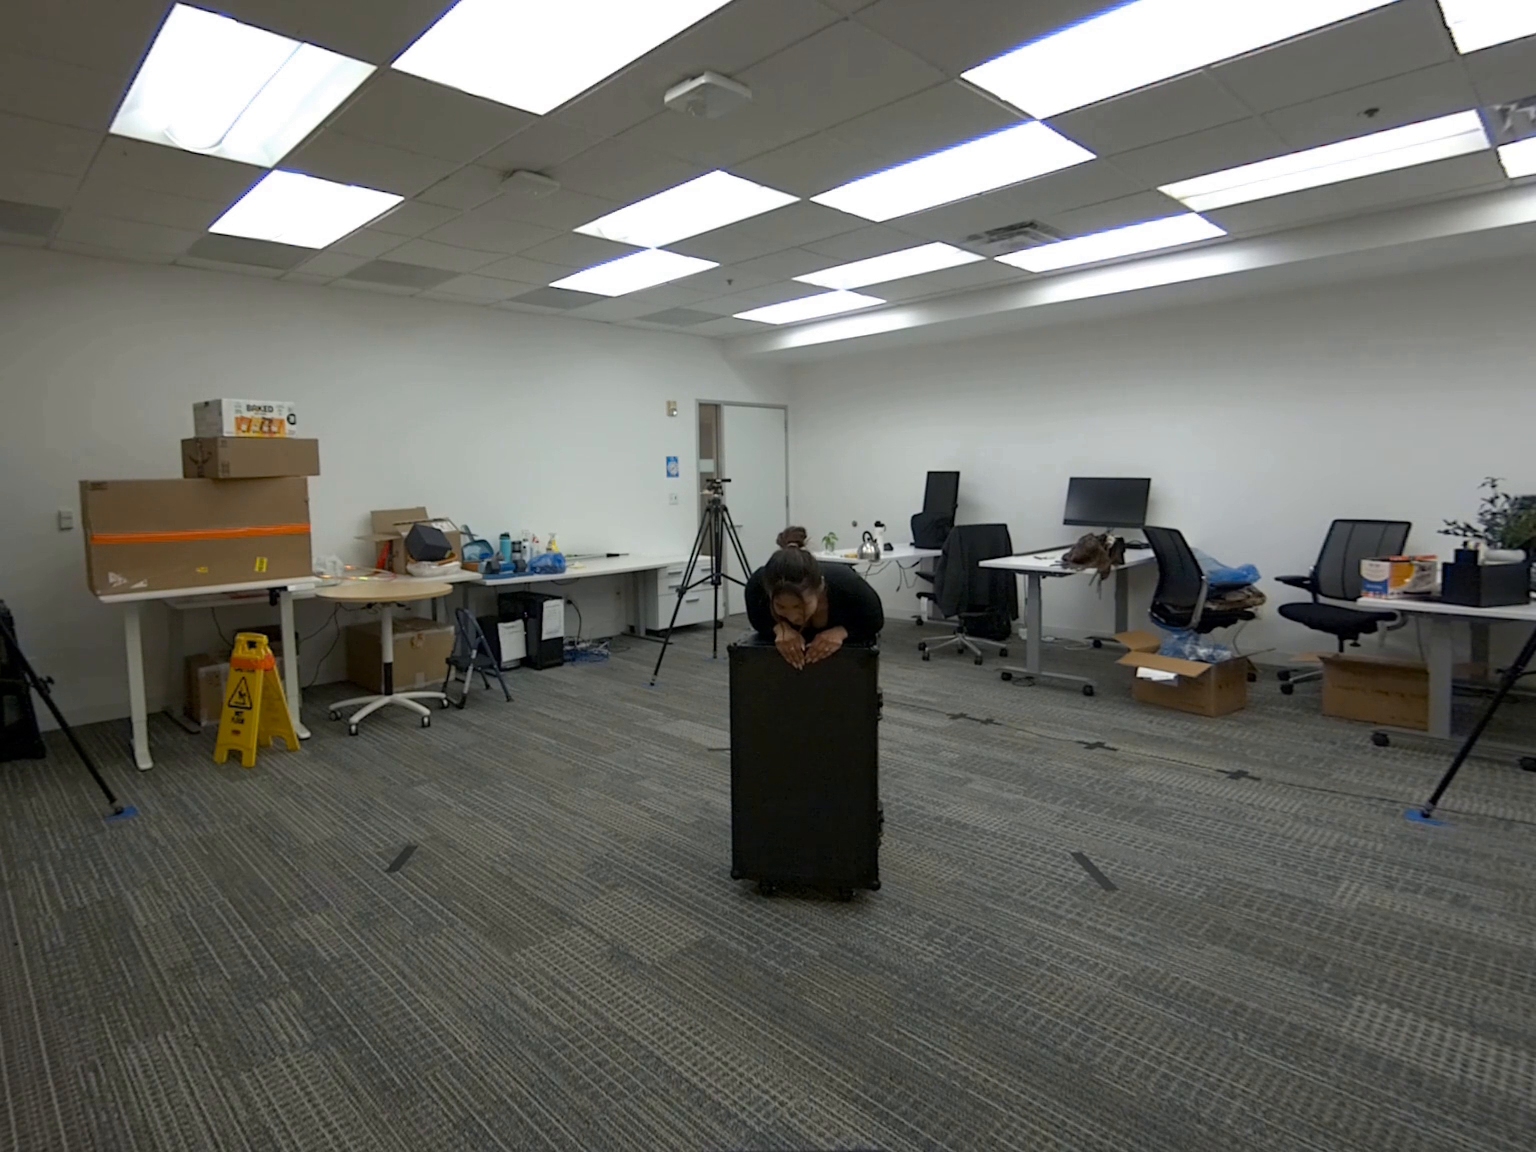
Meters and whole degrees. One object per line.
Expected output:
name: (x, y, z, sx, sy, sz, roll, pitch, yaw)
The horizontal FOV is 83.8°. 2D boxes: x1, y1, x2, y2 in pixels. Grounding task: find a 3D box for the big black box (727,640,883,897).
big black box: (0.130, 0.638, 2.945, 0.527, 0.860, 0.393, -1, 2, 10)
